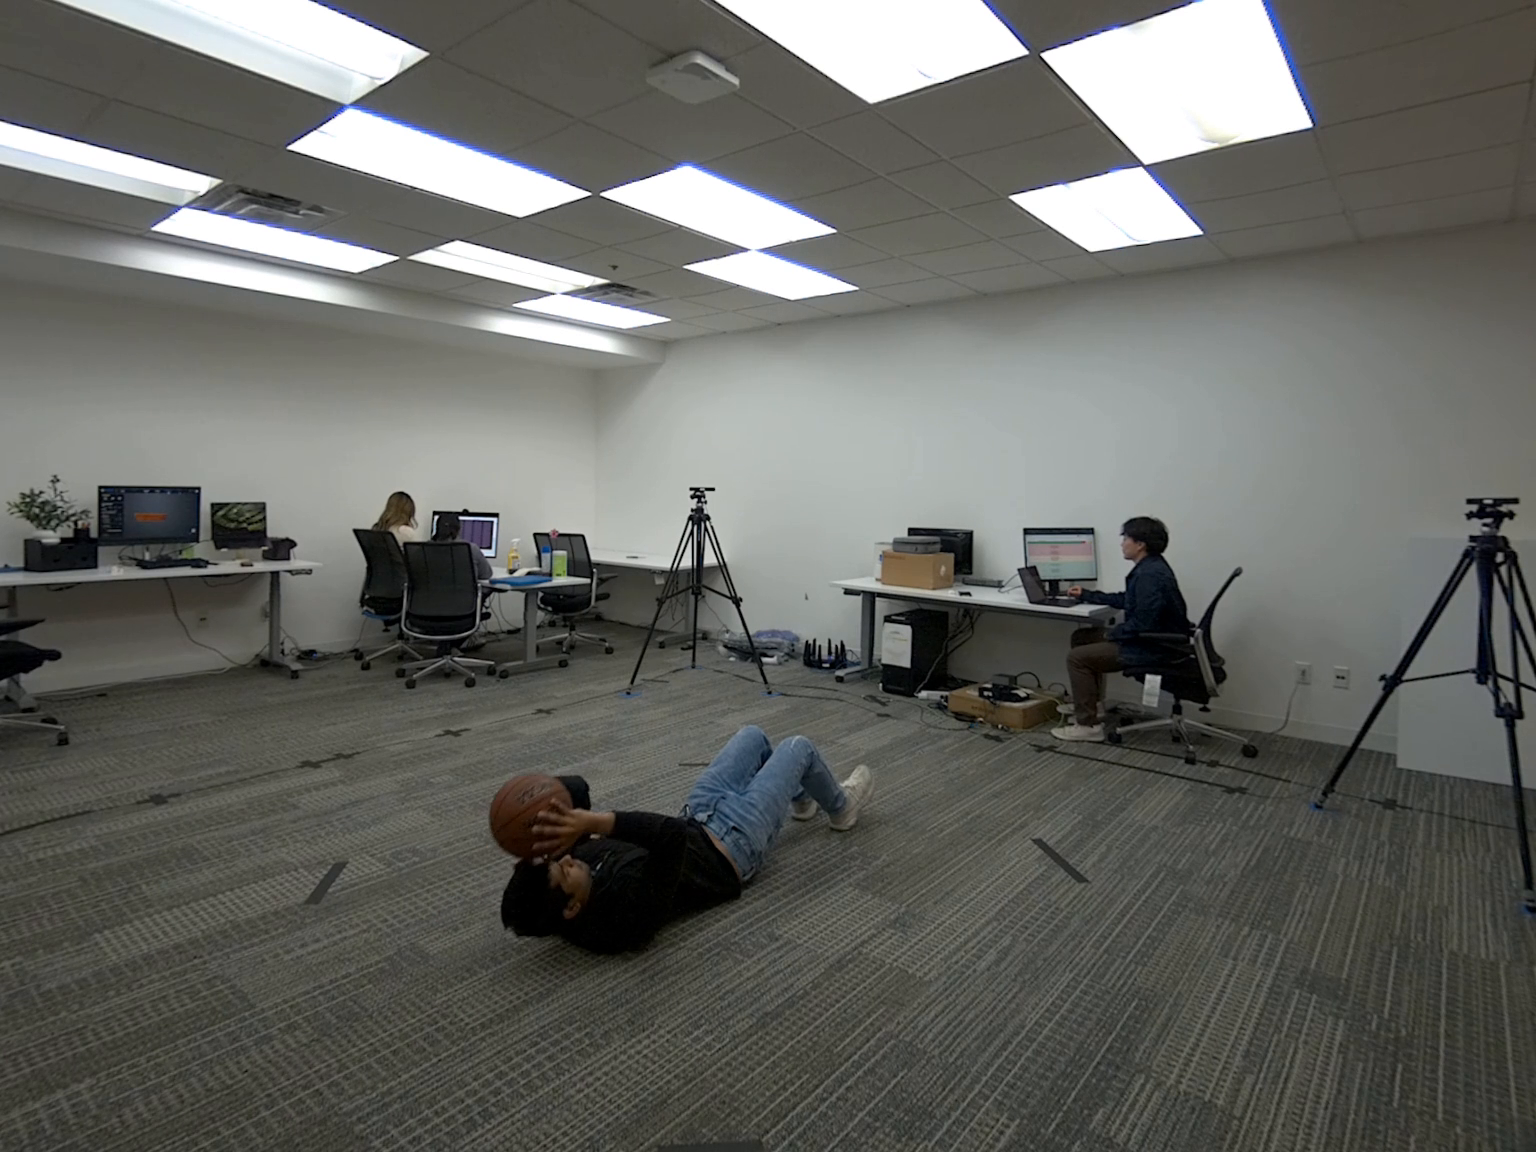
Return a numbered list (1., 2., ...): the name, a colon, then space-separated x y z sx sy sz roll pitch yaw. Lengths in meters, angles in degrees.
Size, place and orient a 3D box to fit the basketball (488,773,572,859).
1. basketball: -0.681 0.693 2.472 0.235 0.235 0.237 1 4 -2
